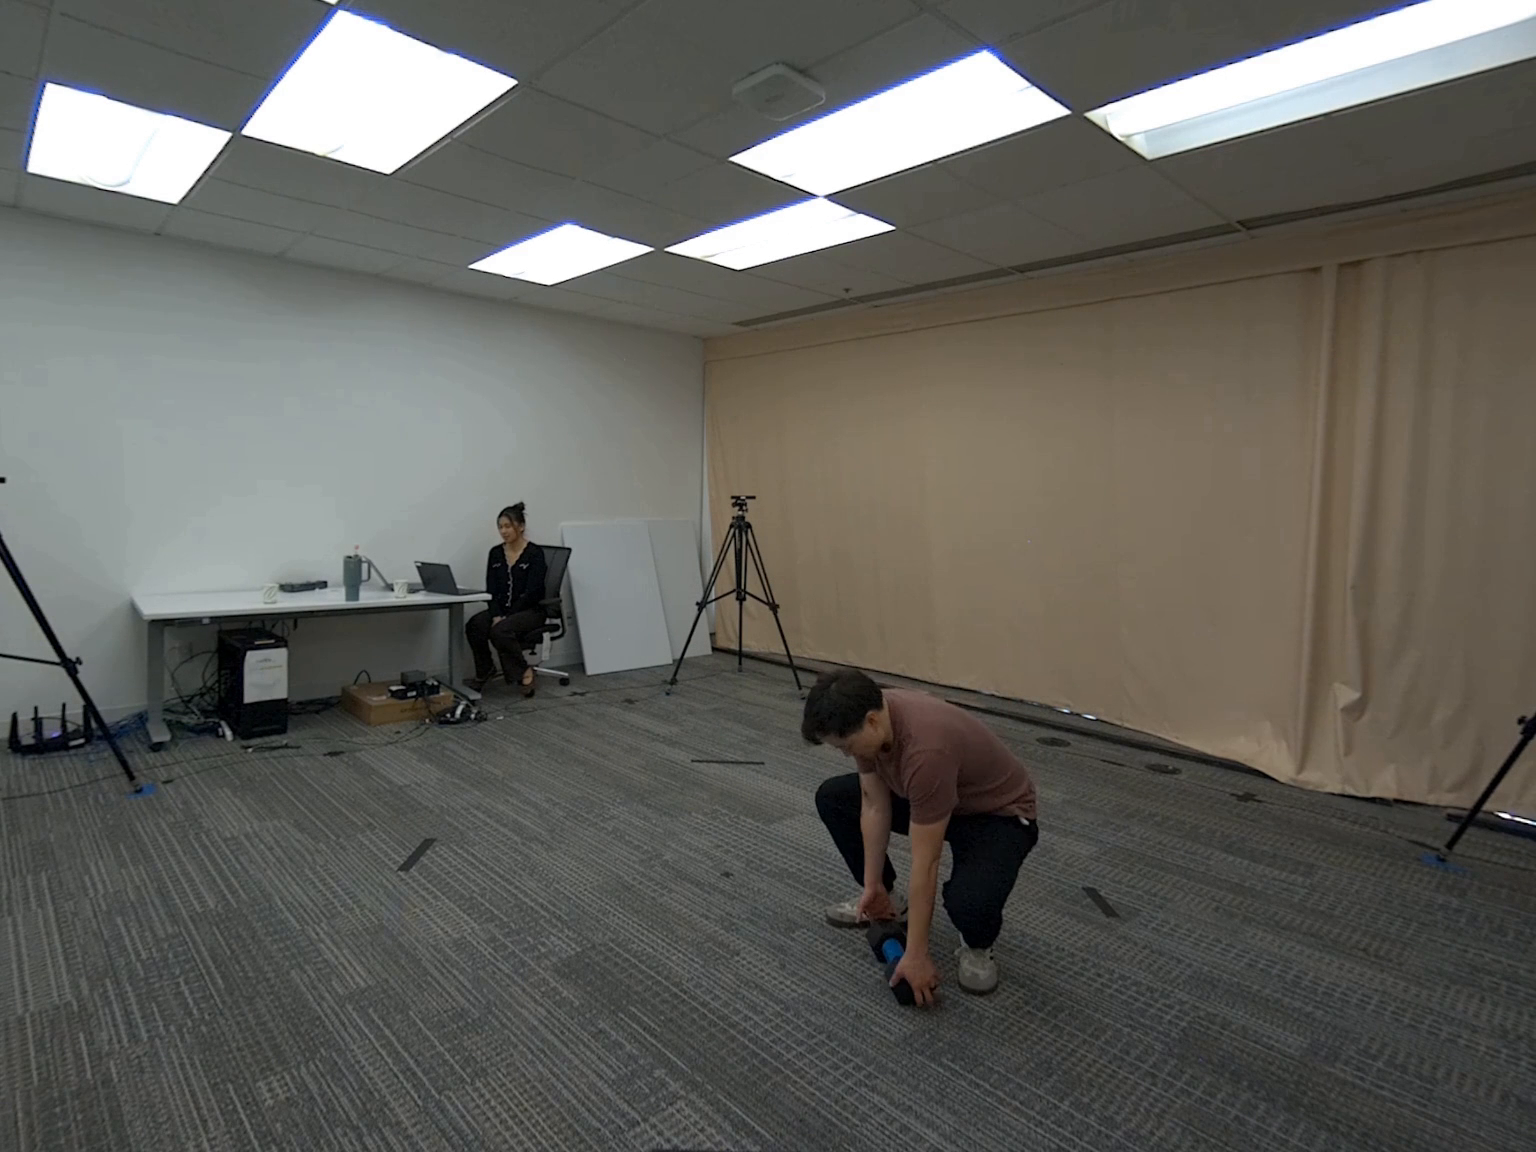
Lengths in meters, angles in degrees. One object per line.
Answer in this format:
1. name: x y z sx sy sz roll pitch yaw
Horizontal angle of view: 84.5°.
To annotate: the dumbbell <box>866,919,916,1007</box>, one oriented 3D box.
1. dumbbell: 0.373 1.125 2.460 0.122 0.108 0.296 2 4 -7
